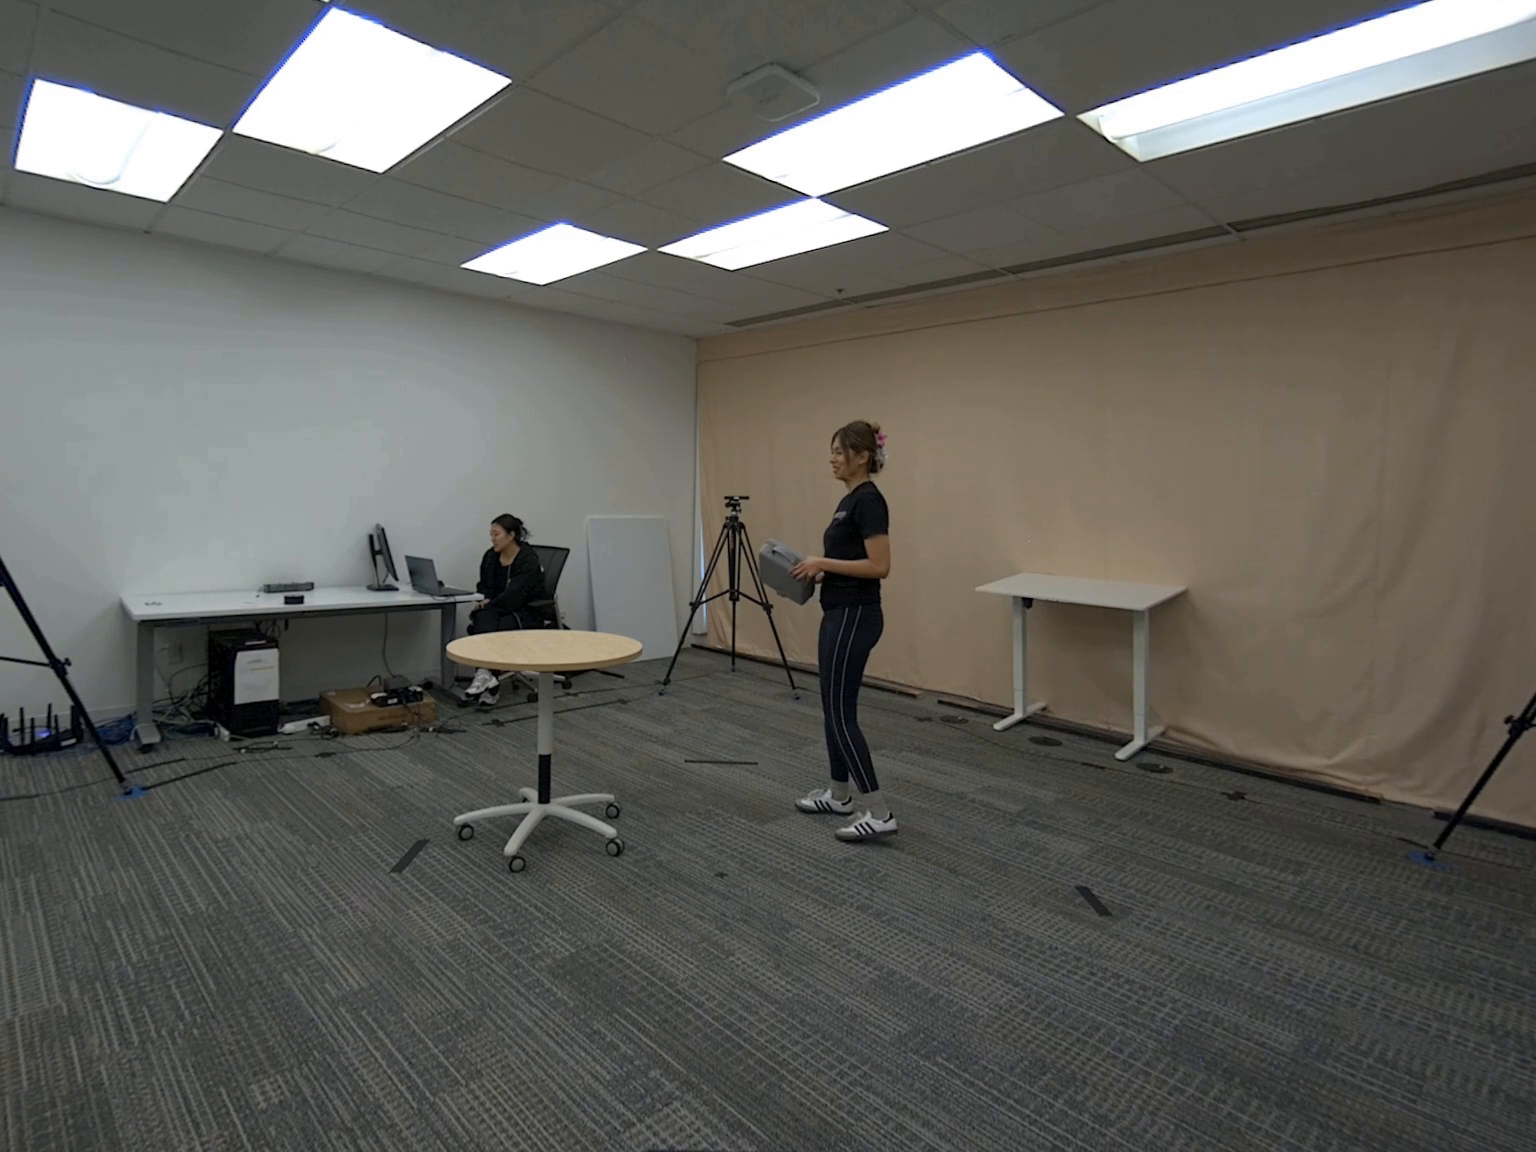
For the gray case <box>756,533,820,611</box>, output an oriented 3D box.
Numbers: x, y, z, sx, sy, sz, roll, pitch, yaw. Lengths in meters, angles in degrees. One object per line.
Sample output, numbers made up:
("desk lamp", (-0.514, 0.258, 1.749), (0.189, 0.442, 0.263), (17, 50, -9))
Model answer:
("gray case", (0.085, -0.017, 3.669), (0.262, 0.104, 0.255), (32, -26, 20))
